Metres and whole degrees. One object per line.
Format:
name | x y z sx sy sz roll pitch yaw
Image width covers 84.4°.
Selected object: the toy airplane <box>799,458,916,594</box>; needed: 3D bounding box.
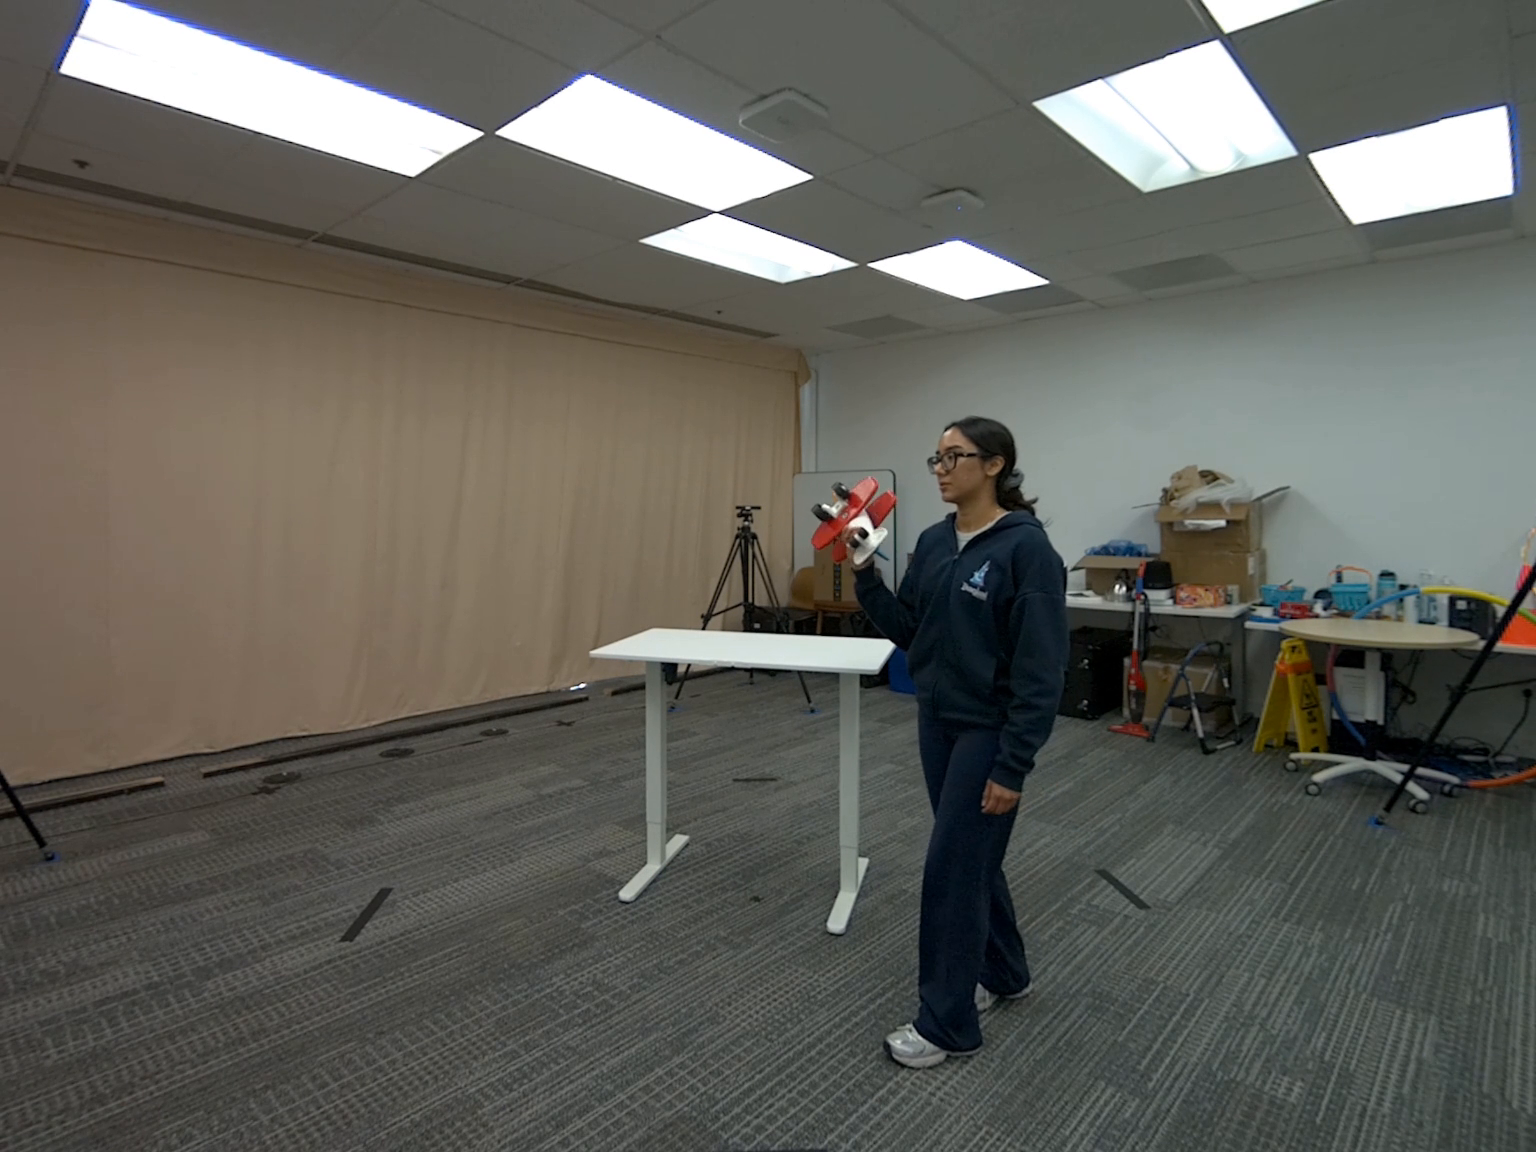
toy airplane | 0.244 -0.134 2.331 0.256 0.264 0.151 -28 -36 37
